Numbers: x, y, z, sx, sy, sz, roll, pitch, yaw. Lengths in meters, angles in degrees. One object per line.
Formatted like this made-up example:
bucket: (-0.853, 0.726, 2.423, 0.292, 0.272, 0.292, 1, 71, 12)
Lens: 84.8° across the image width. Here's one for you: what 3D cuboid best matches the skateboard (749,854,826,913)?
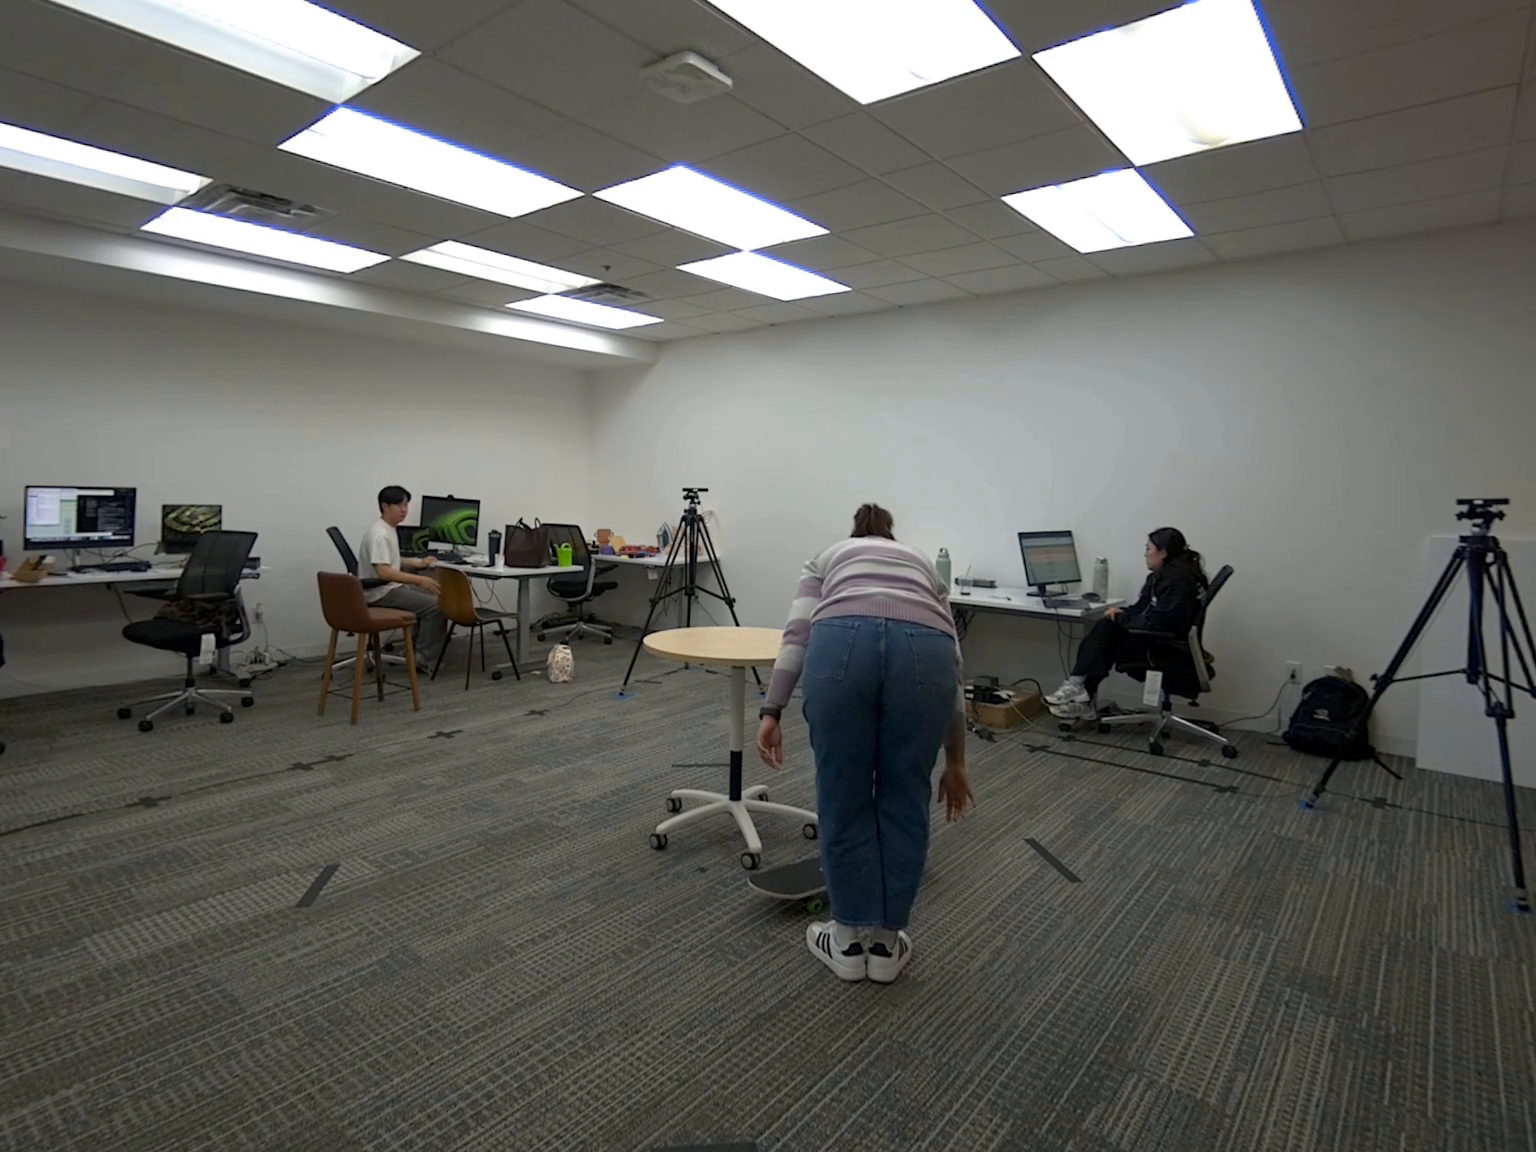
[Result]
skateboard: (0.259, 1.035, 2.976, 0.763, 0.110, 0.200, -2, 6, -34)
